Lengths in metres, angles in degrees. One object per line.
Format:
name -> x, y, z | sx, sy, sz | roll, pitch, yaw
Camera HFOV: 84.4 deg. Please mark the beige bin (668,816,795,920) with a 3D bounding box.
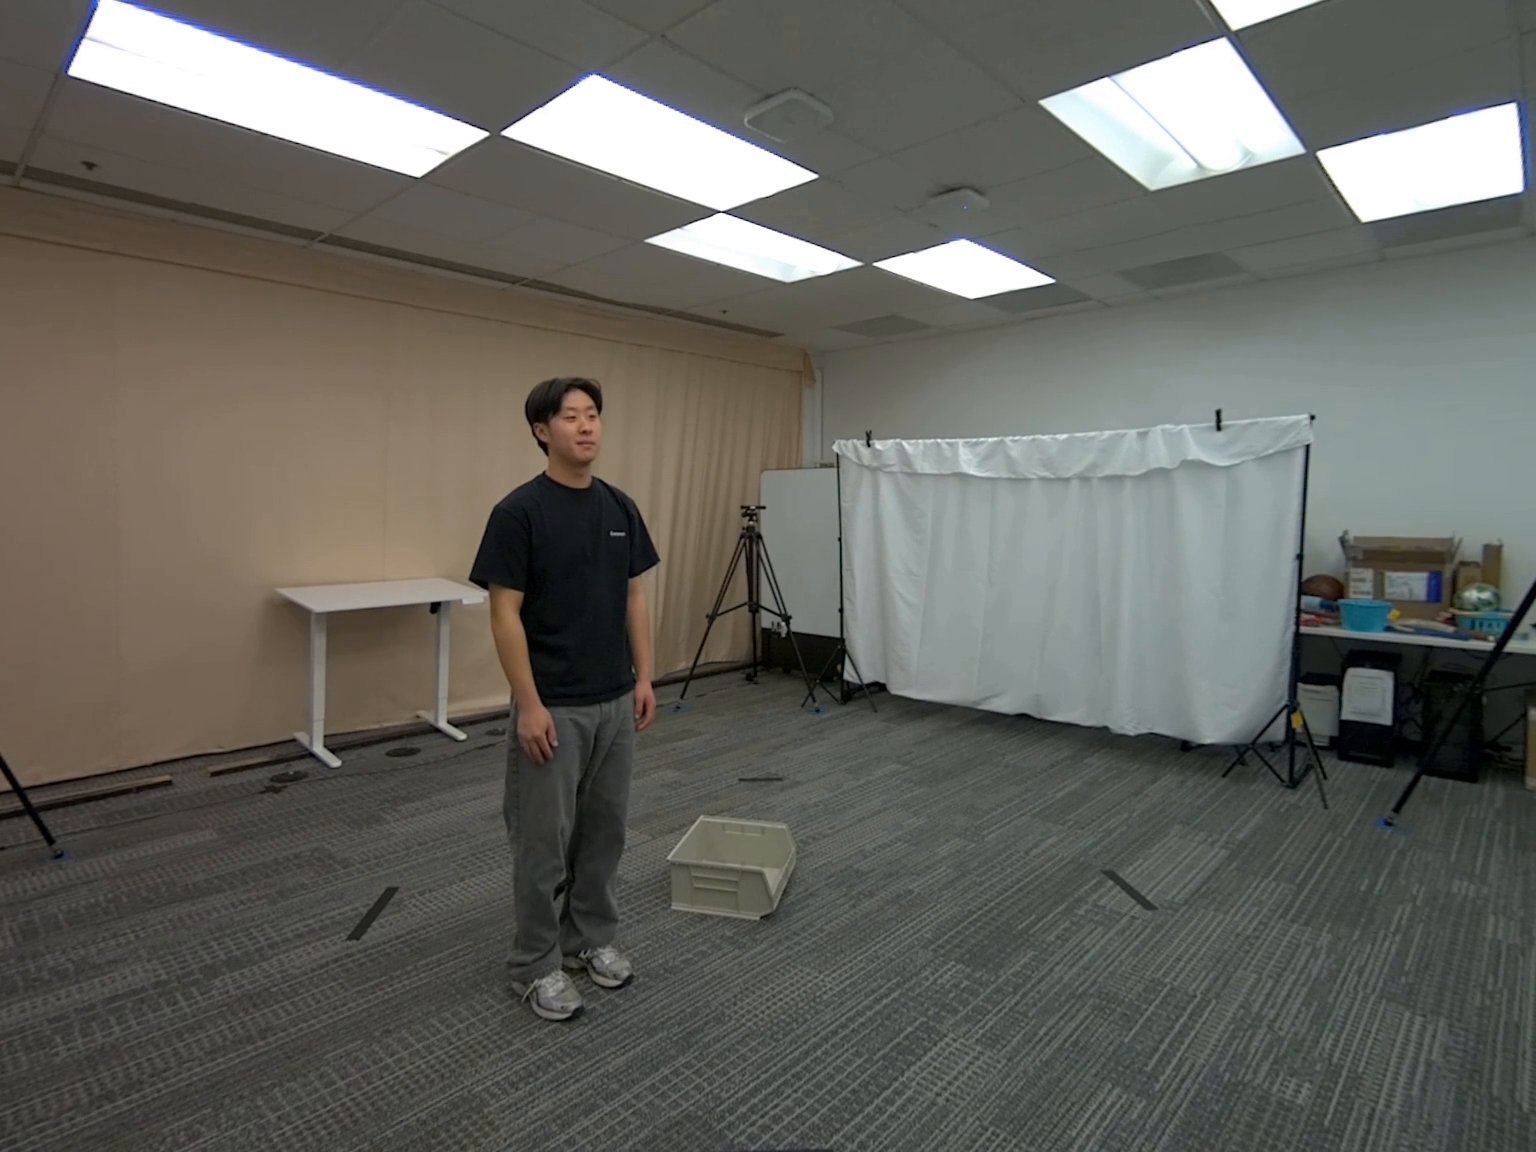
beige bin -> -0.119, 1.050, 3.055 | 0.383, 0.188, 0.417 | 0, 5, 13
